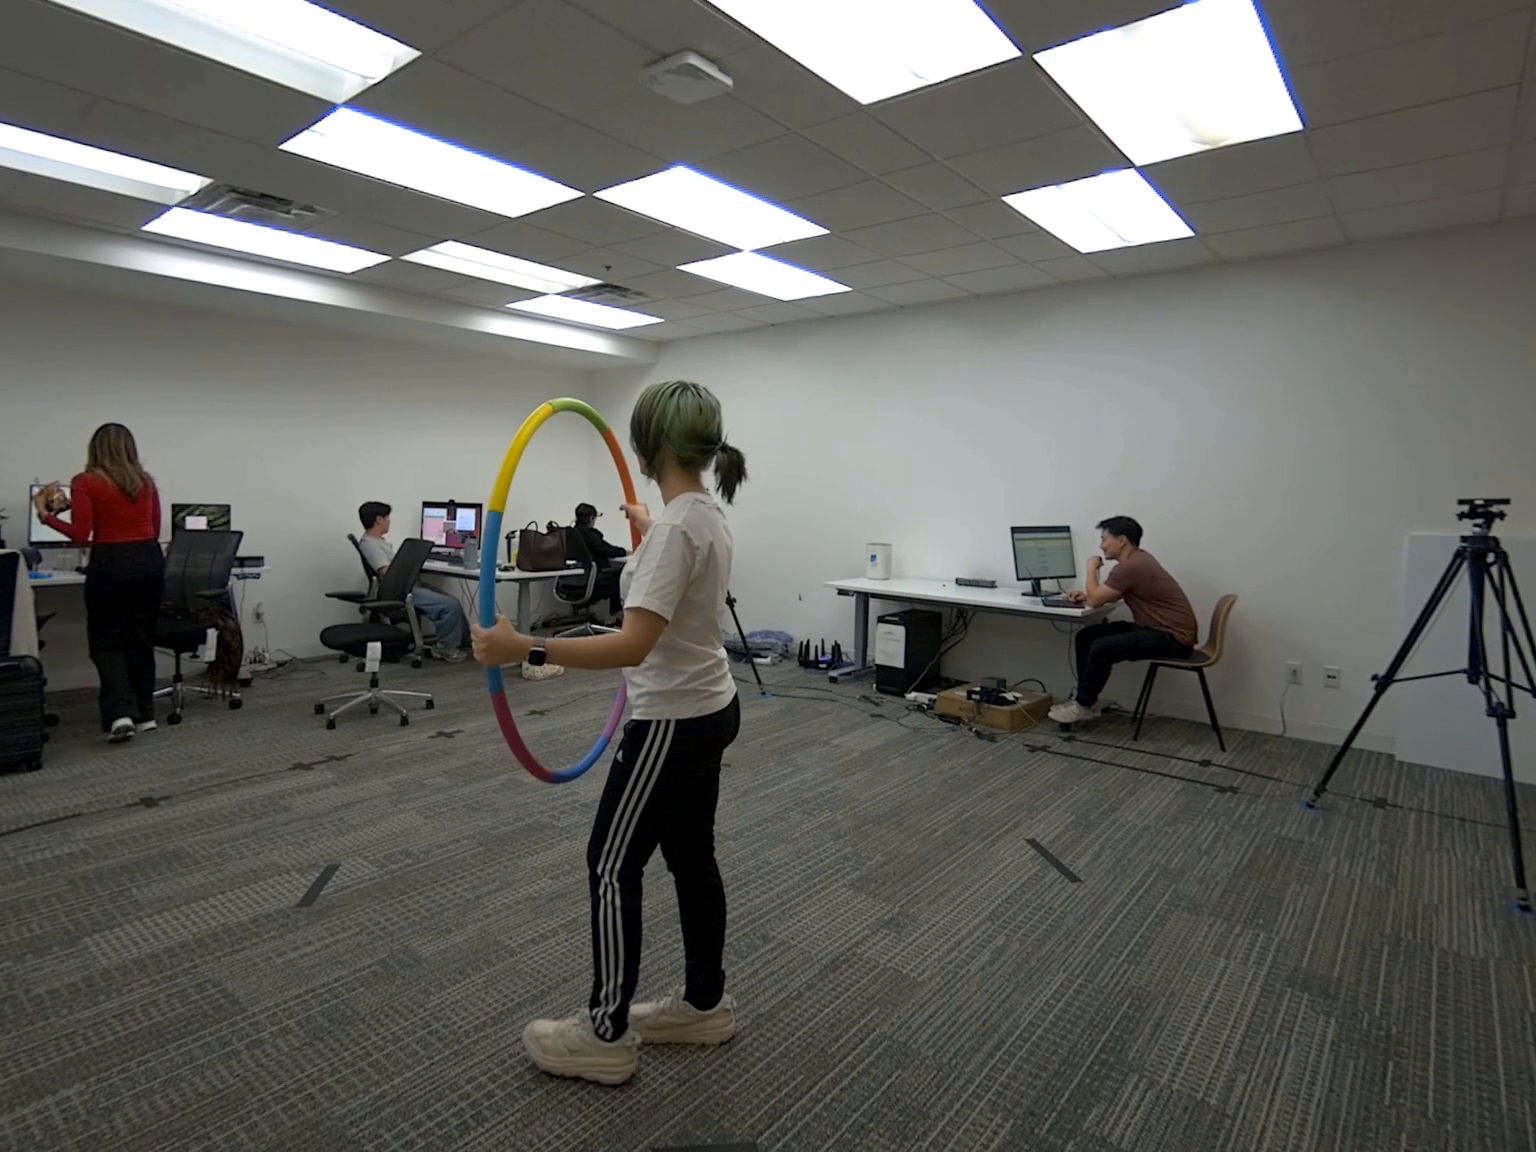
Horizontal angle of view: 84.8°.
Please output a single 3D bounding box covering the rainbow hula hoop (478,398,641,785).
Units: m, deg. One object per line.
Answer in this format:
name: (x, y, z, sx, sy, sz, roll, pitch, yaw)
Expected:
rainbow hula hoop: (-0.501, 0.034, 2.226, 0.036, 0.976, 0.968, 0, 4, 11)
